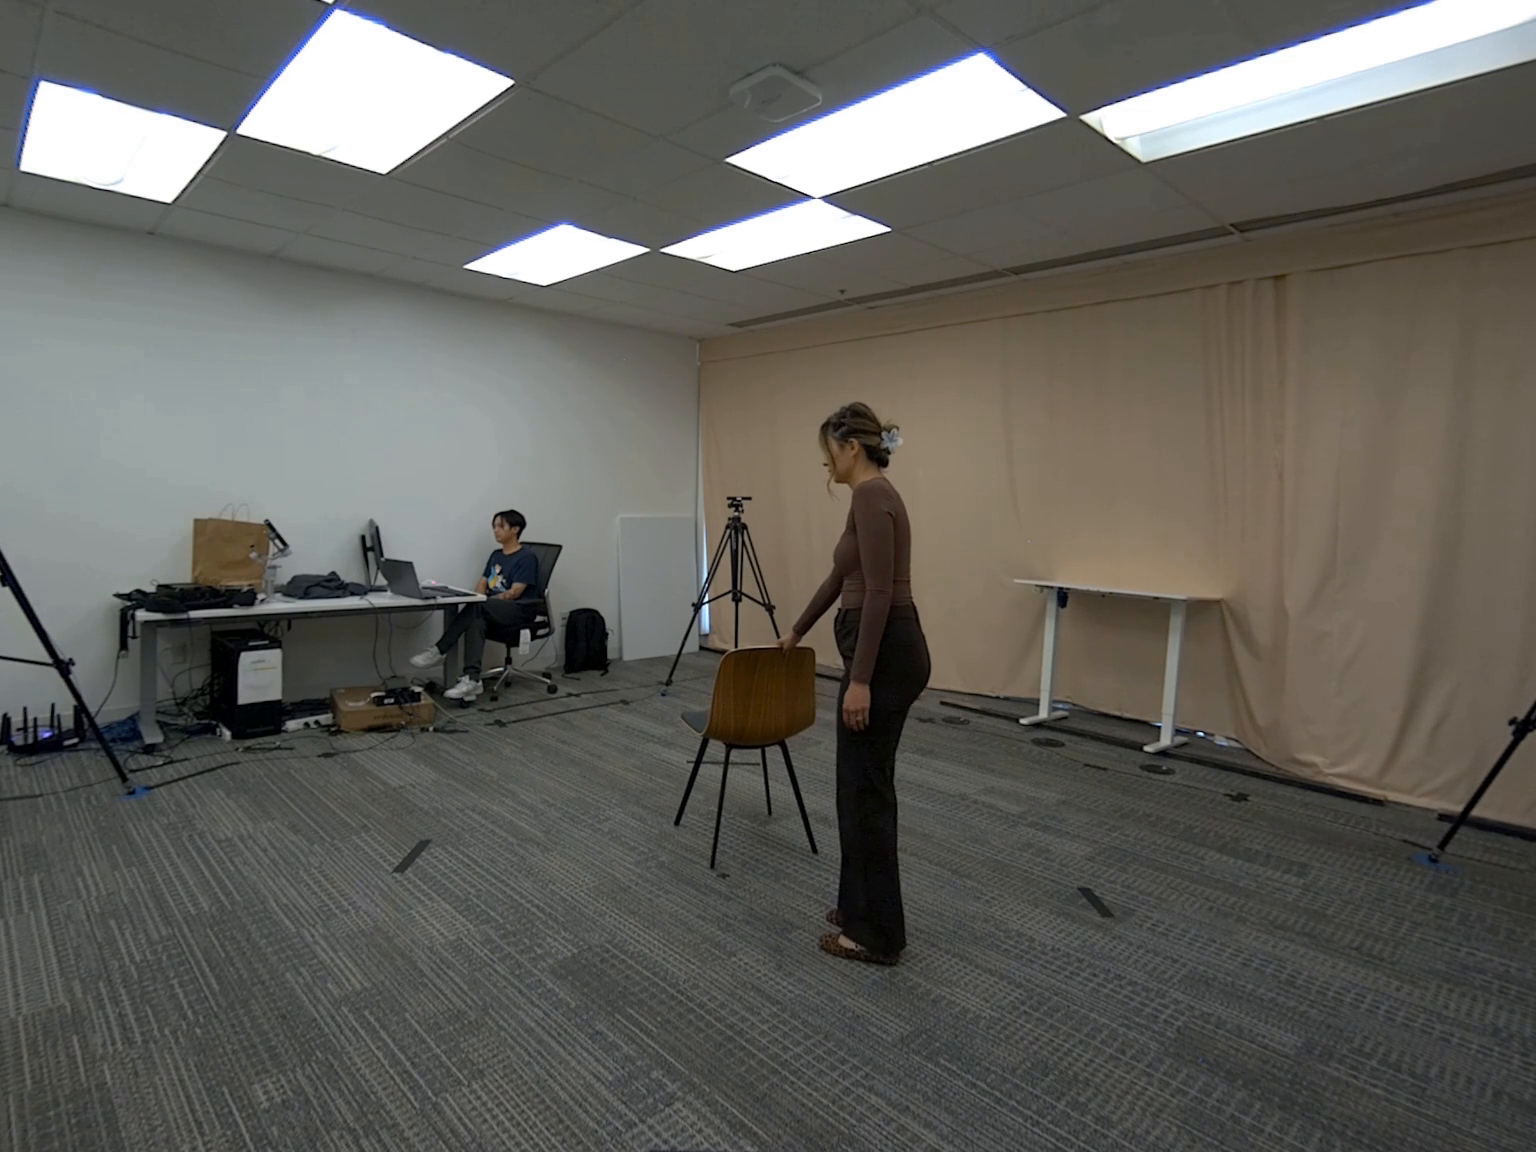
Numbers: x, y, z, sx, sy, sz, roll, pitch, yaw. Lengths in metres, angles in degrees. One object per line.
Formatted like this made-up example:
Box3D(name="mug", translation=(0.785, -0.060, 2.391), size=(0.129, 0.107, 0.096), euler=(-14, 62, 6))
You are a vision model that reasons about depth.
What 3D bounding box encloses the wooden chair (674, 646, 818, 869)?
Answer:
Box3D(name="wooden chair", translation=(-0.098, 0.651, 3.421), size=(0.470, 0.873, 0.535), euler=(0, 8, -23))
